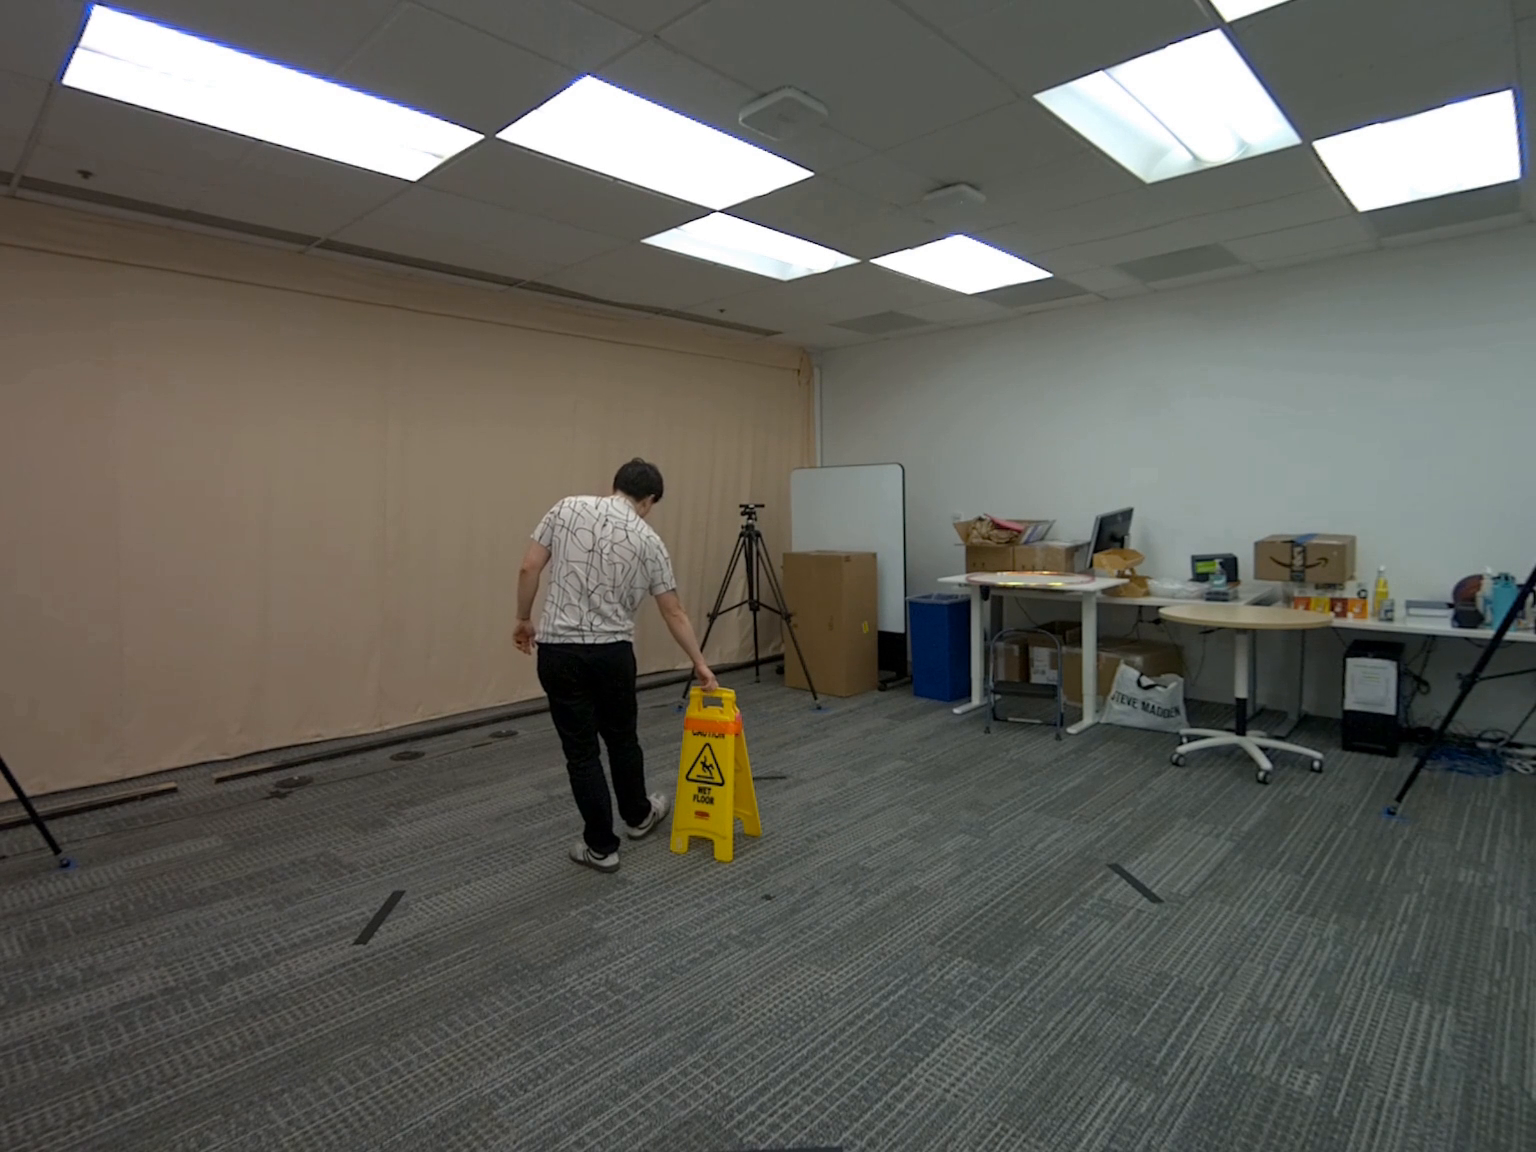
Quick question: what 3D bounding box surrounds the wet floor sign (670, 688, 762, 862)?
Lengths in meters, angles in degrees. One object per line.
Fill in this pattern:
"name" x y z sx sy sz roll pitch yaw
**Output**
"wet floor sign" -0.218 0.781 3.453 0.289 0.644 0.283 0 4 26
